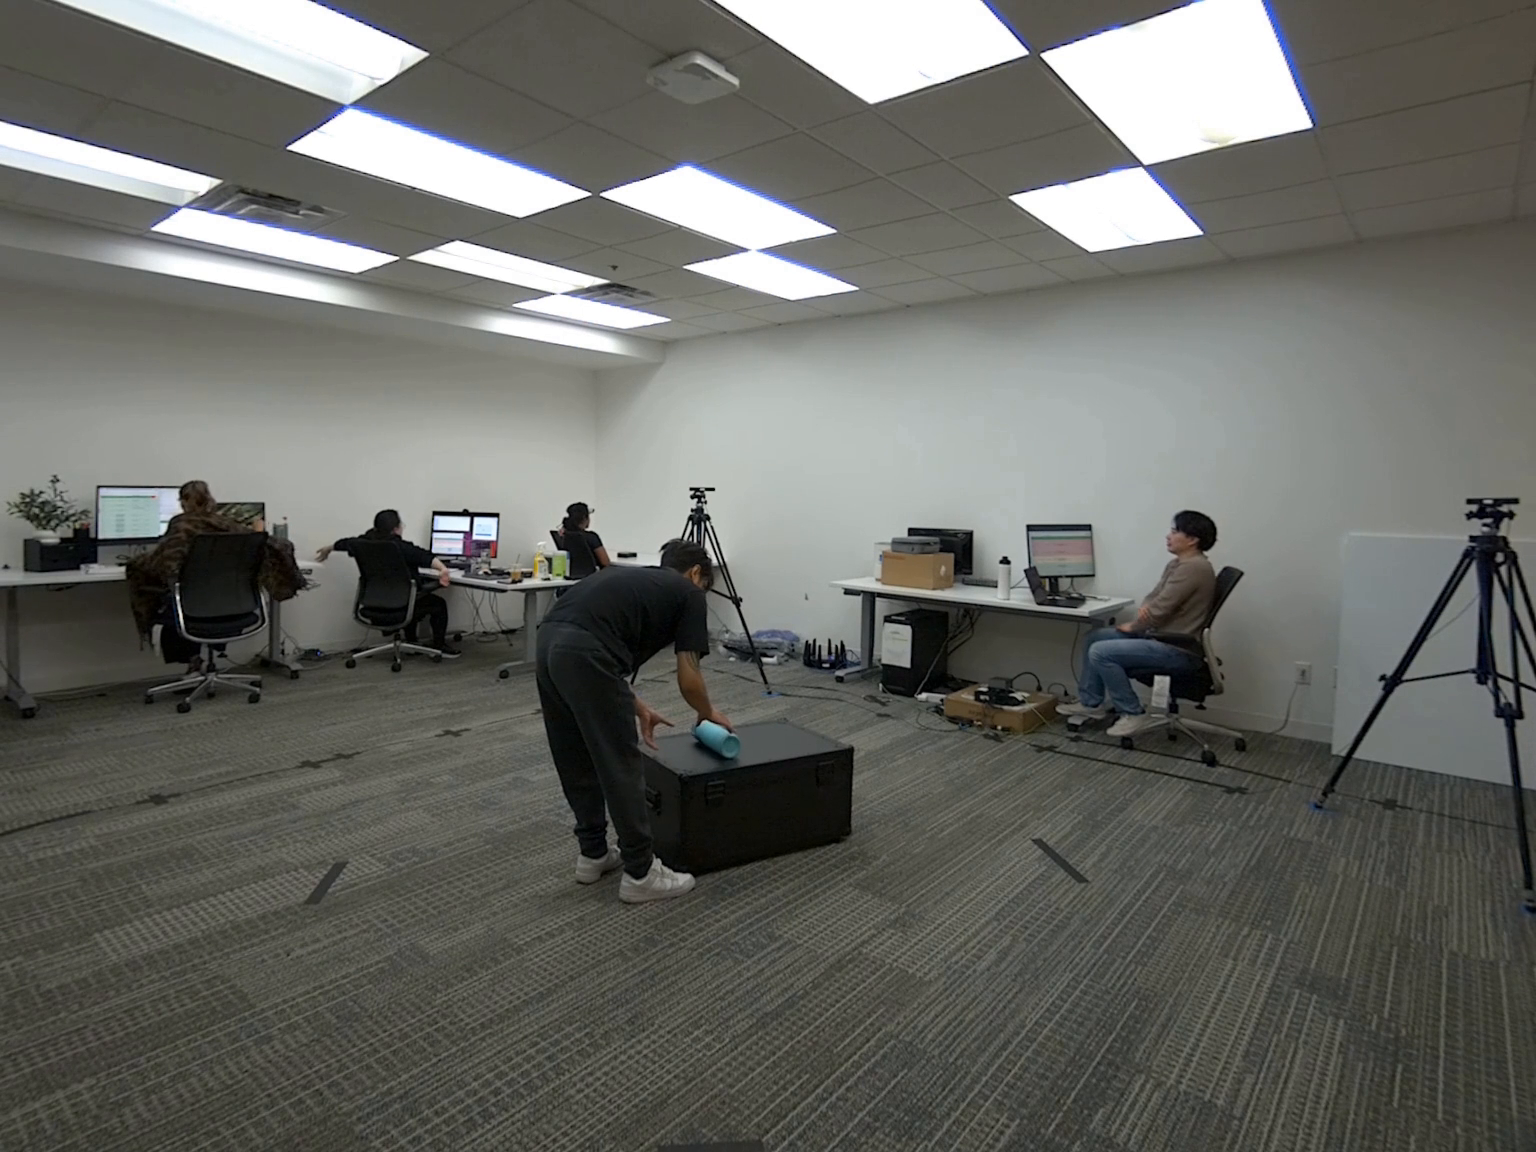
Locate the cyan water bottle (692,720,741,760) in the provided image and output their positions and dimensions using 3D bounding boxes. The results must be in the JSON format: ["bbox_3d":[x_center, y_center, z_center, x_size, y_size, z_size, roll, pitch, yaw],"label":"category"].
[{"bbox_3d":[-0.225,0.617,3.317,0.090,0.092,0.292,-1,7,-29],"label":"cyan water bottle"}]
